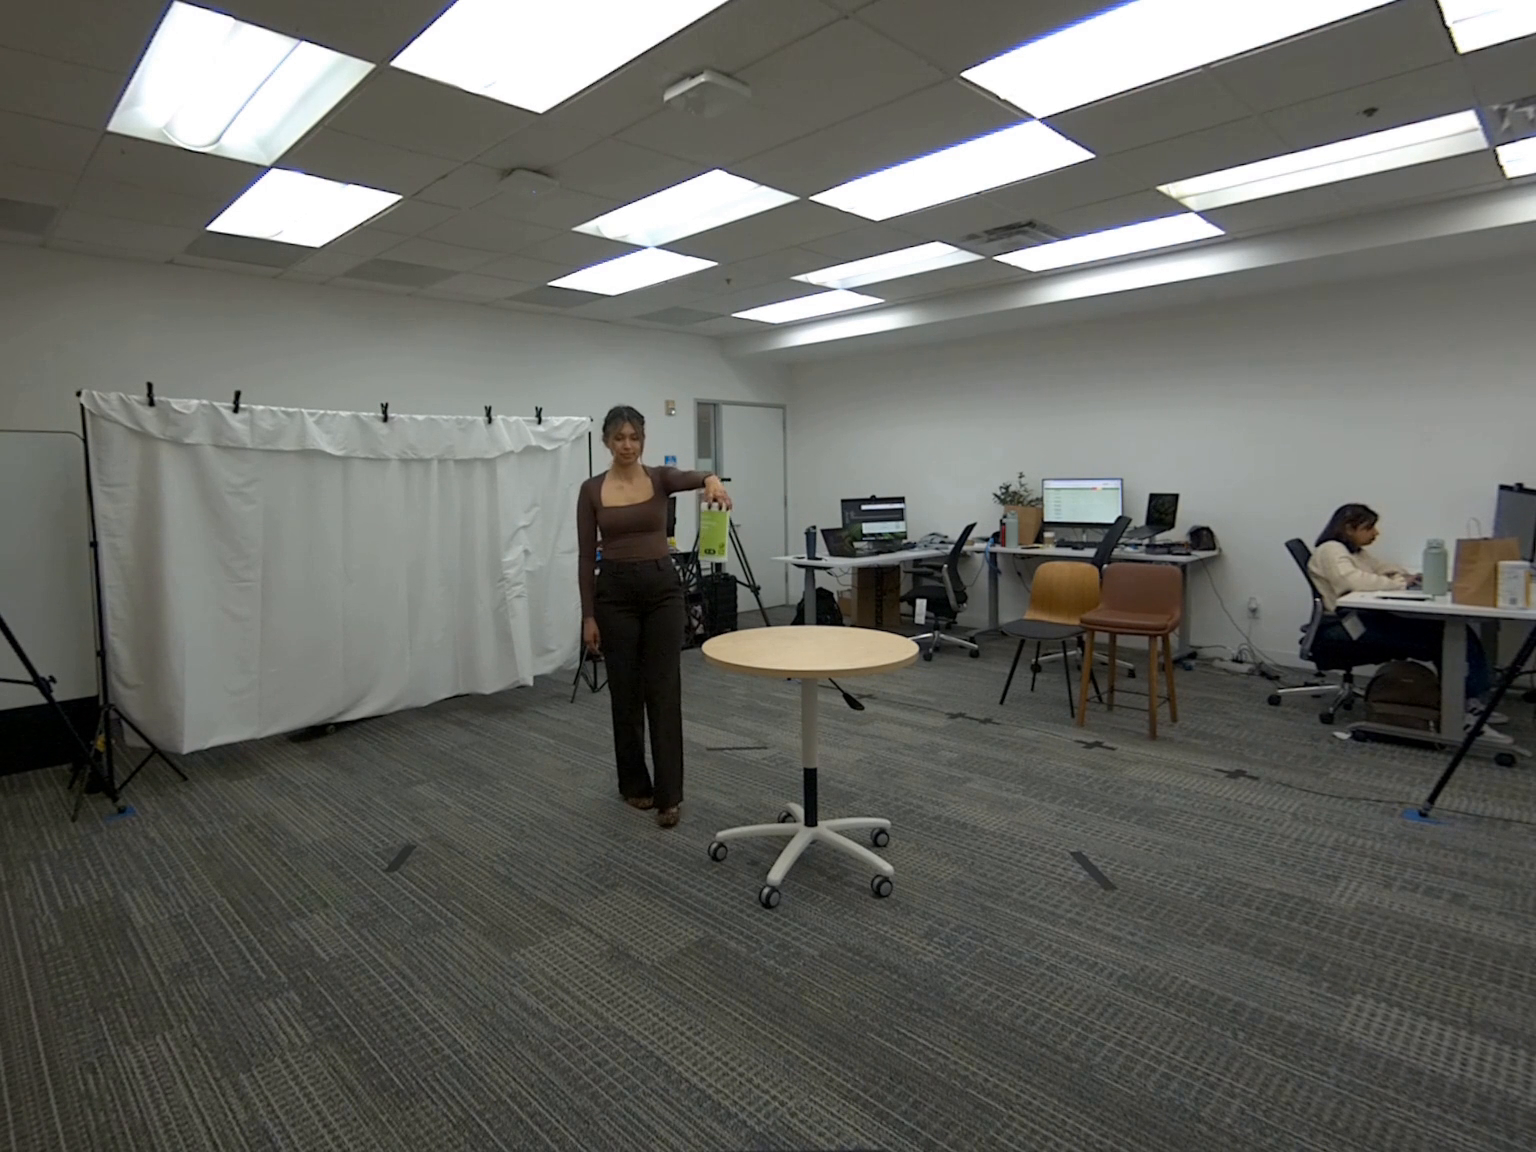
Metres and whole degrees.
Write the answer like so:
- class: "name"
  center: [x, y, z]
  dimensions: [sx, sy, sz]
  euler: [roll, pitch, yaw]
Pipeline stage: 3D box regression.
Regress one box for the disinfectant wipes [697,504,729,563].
- class: "disinfectant wipes"
  center: [-0.202, -0.159, 3.136]
  dimensions: [0.117, 0.217, 0.118]
  euler: [4, 4, -2]
